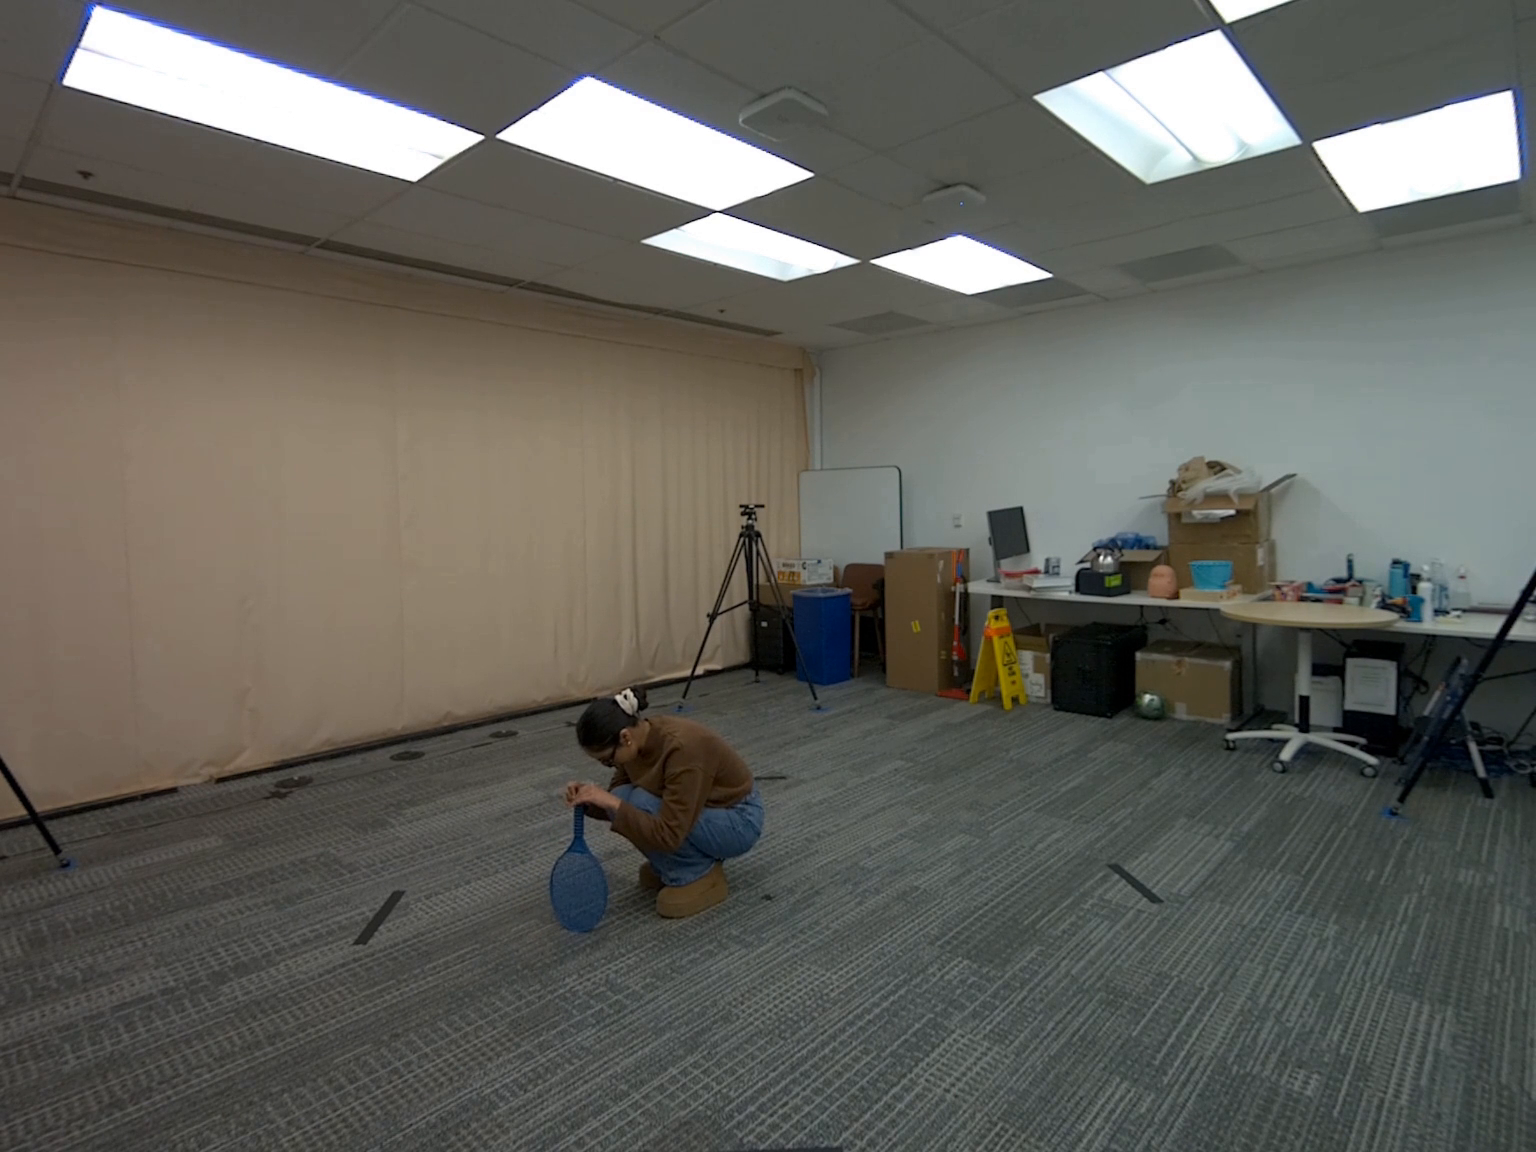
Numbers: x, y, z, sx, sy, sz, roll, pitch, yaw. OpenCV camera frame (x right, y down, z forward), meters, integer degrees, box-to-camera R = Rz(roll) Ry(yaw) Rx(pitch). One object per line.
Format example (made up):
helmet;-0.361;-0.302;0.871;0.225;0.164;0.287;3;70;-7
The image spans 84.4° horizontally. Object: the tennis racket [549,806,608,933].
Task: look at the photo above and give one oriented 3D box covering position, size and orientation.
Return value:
tennis racket;-0.622;0.959;2.791;0.217;0.434;0.031;3;-3;14
